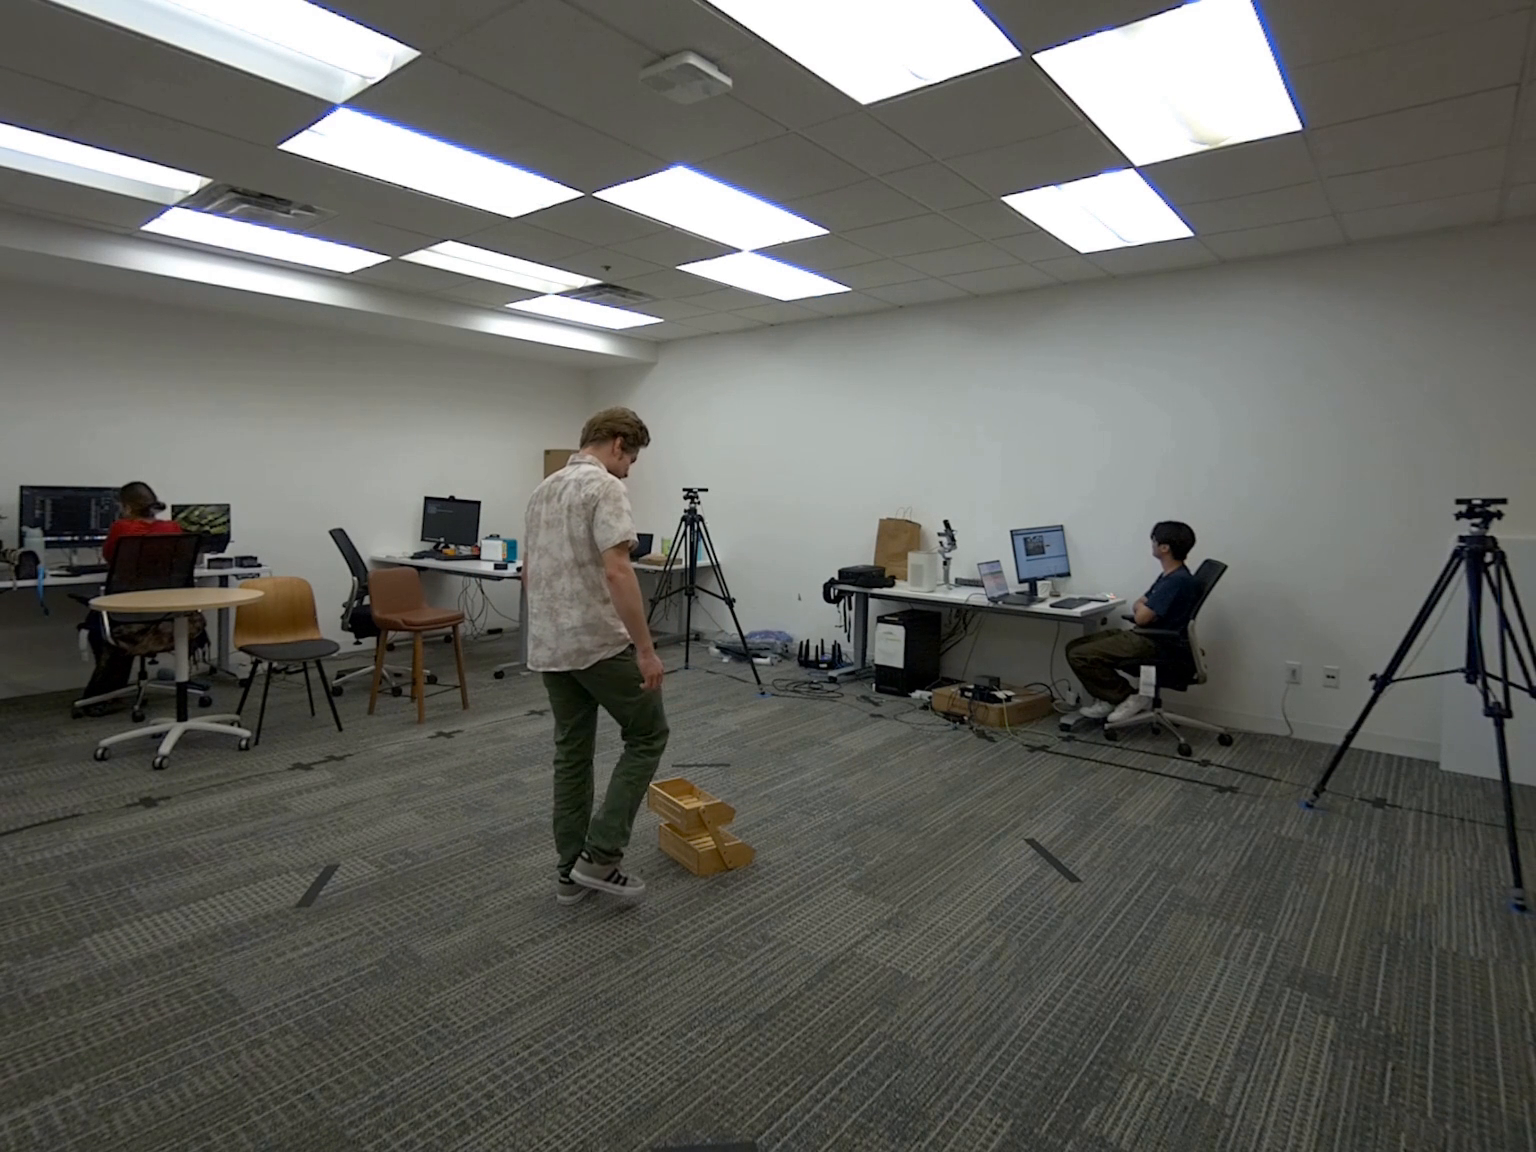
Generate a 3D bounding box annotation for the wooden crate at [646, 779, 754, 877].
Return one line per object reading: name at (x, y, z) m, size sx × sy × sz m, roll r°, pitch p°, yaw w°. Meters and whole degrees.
wooden crate at (-0.260, 0.927, 3.217) m, size 0.293 × 0.272 × 0.335 m, roll -2°, pitch 6°, yaw -35°
